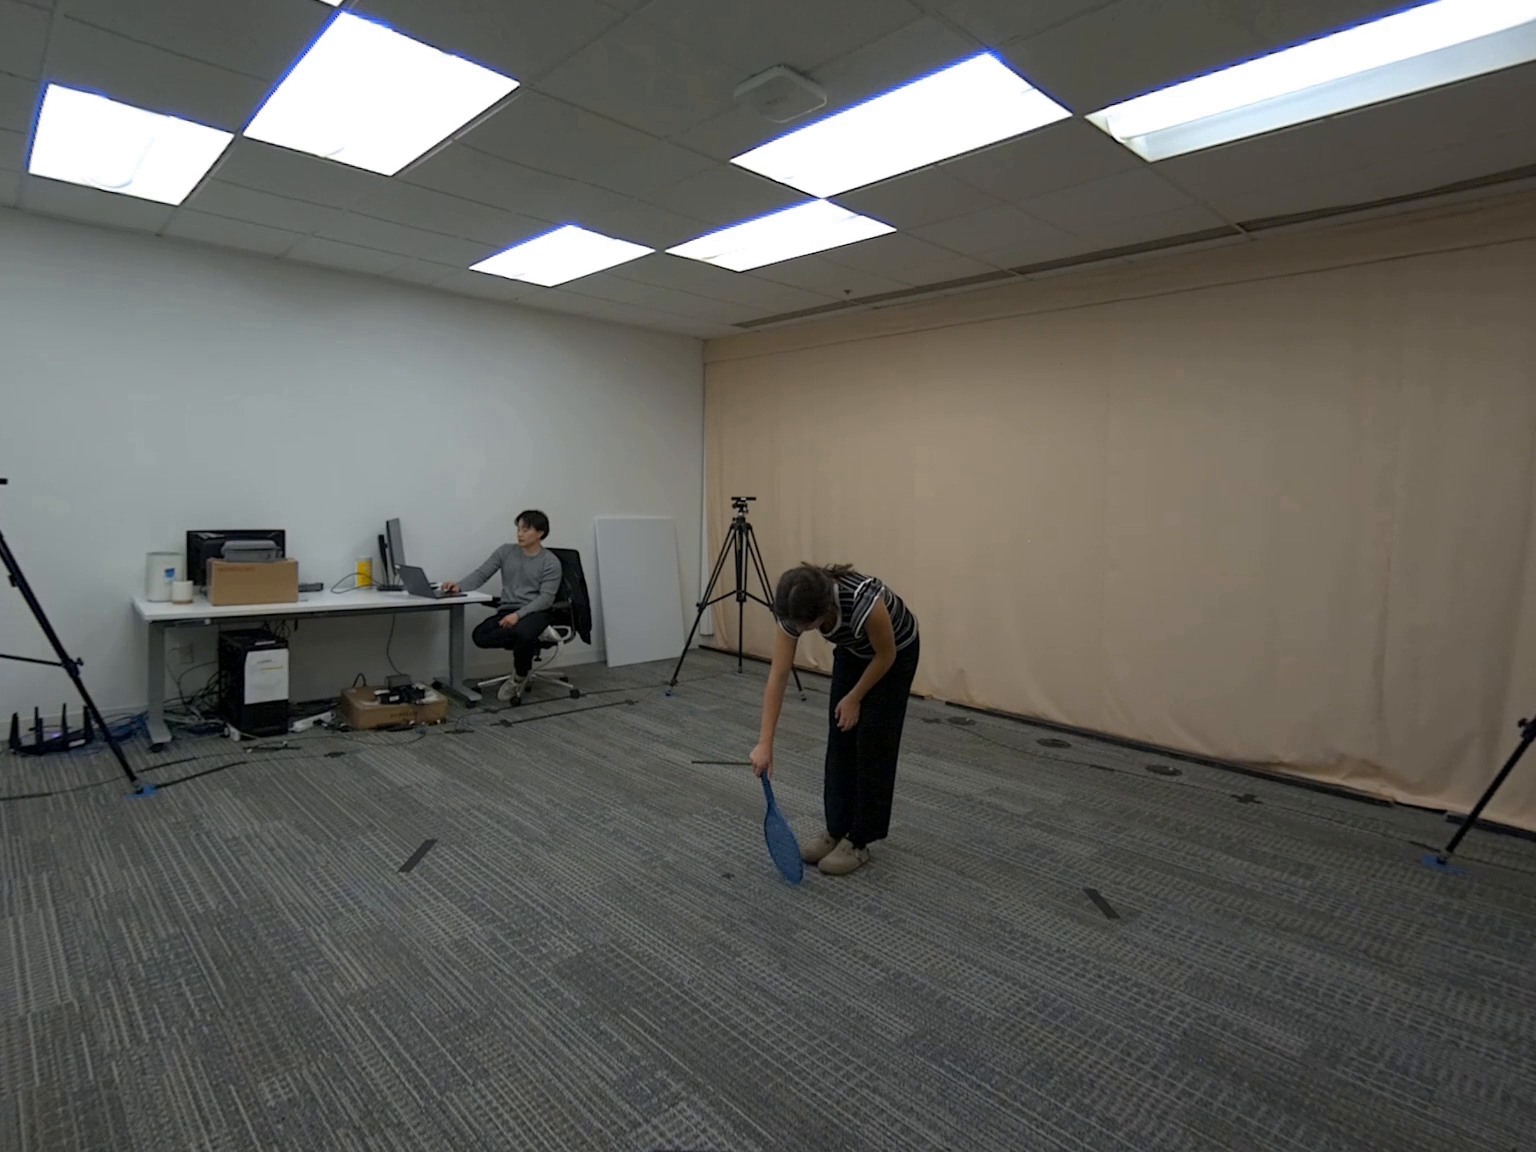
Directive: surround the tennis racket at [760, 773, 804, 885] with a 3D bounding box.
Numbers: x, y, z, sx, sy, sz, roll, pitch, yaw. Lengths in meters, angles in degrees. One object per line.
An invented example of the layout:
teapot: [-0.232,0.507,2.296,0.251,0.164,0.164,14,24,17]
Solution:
tennis racket: [0.035,0.906,3.057,0.031,0.433,0.217,-15,0,-34]
